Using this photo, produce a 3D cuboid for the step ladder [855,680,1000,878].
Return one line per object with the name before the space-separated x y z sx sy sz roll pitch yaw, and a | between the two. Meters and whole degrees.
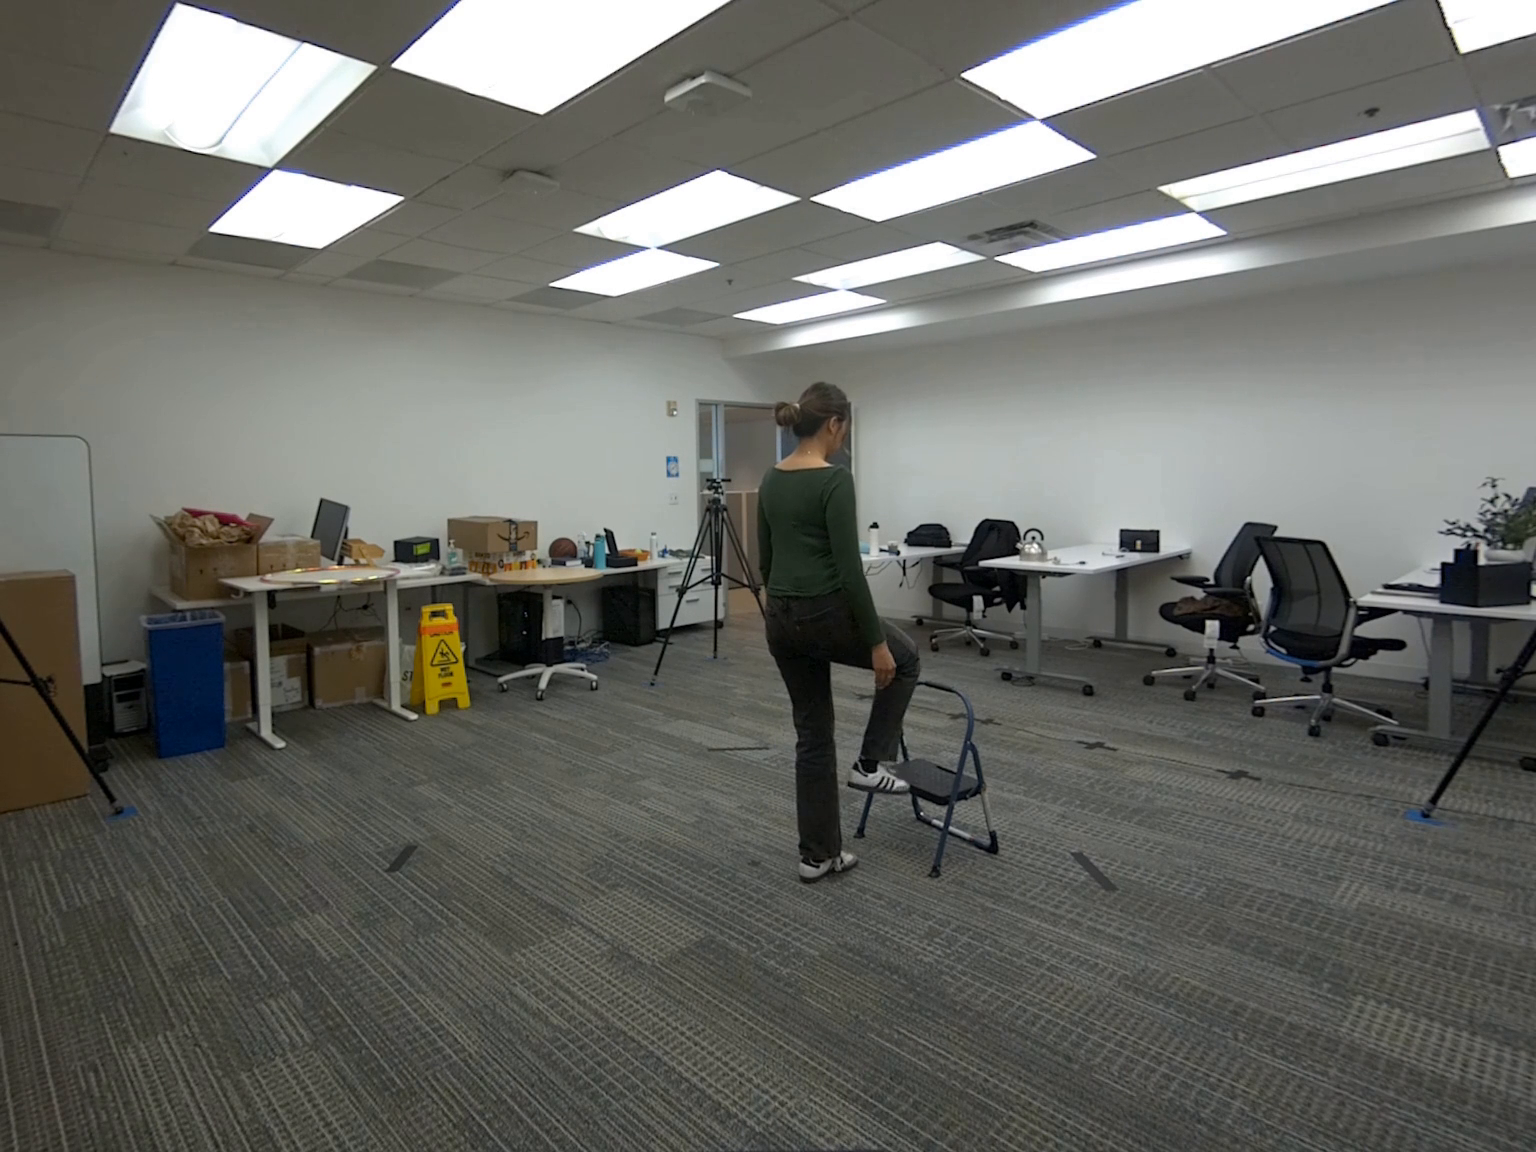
step ladder | 0.594 0.717 3.219 0.340 0.604 0.443 -3 5 -34
